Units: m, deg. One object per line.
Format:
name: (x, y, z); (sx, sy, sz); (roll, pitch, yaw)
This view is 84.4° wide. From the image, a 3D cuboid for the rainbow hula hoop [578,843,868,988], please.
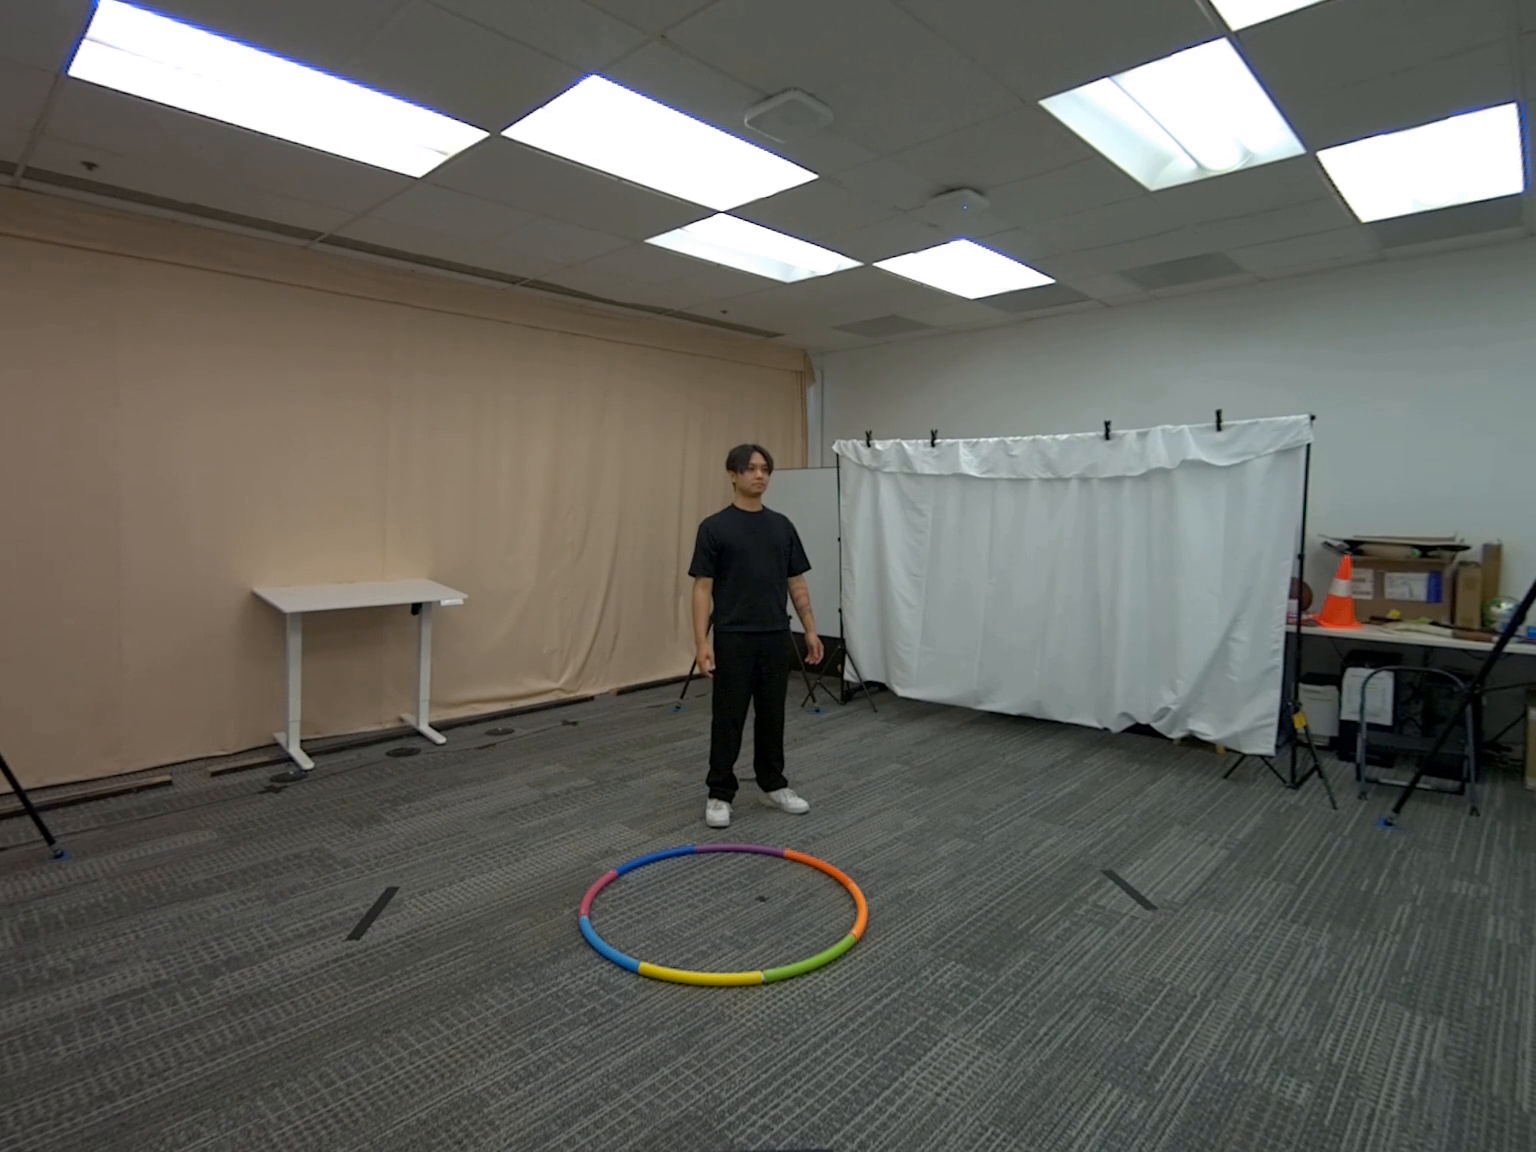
rainbow hula hoop: (-0.149, 1.119, 2.920); (0.978, 0.035, 0.982); (0, 5, -2)
